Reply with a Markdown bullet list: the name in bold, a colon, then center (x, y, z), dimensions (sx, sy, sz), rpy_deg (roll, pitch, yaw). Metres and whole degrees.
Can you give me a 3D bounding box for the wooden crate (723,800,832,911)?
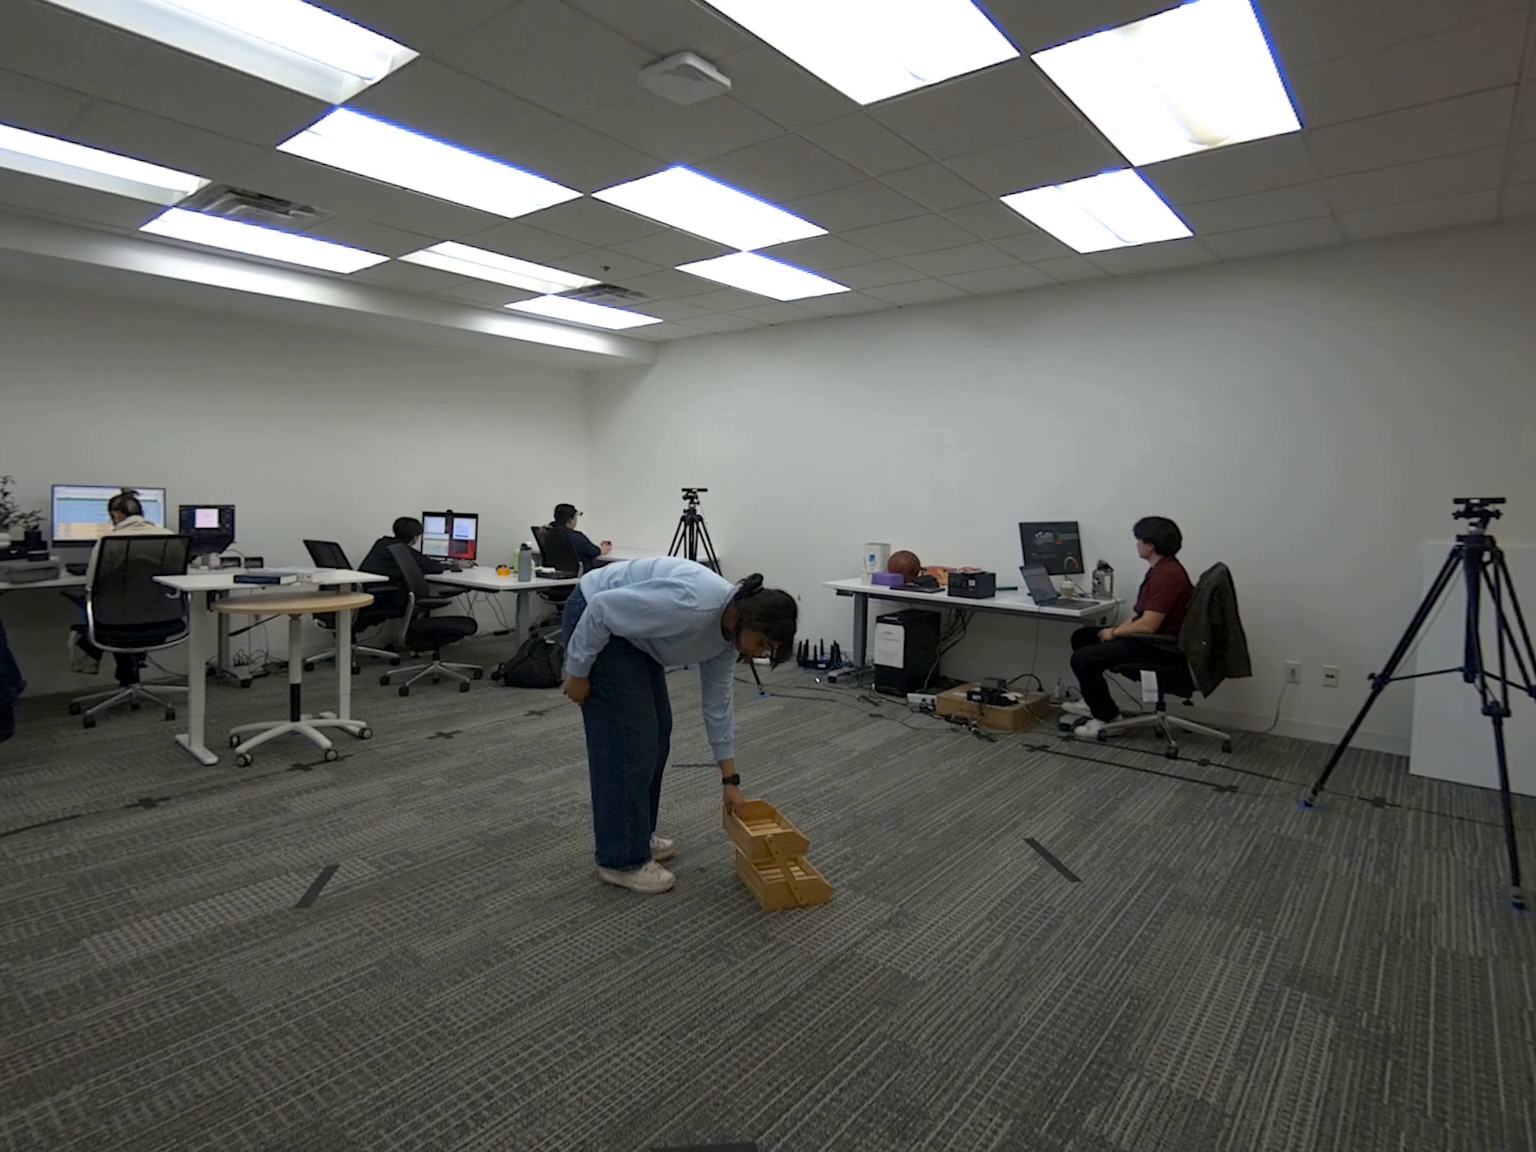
- **wooden crate**: center (0.026, 0.954, 2.970), dimensions (0.296, 0.272, 0.332), rpy_deg (-1, 5, -20)
